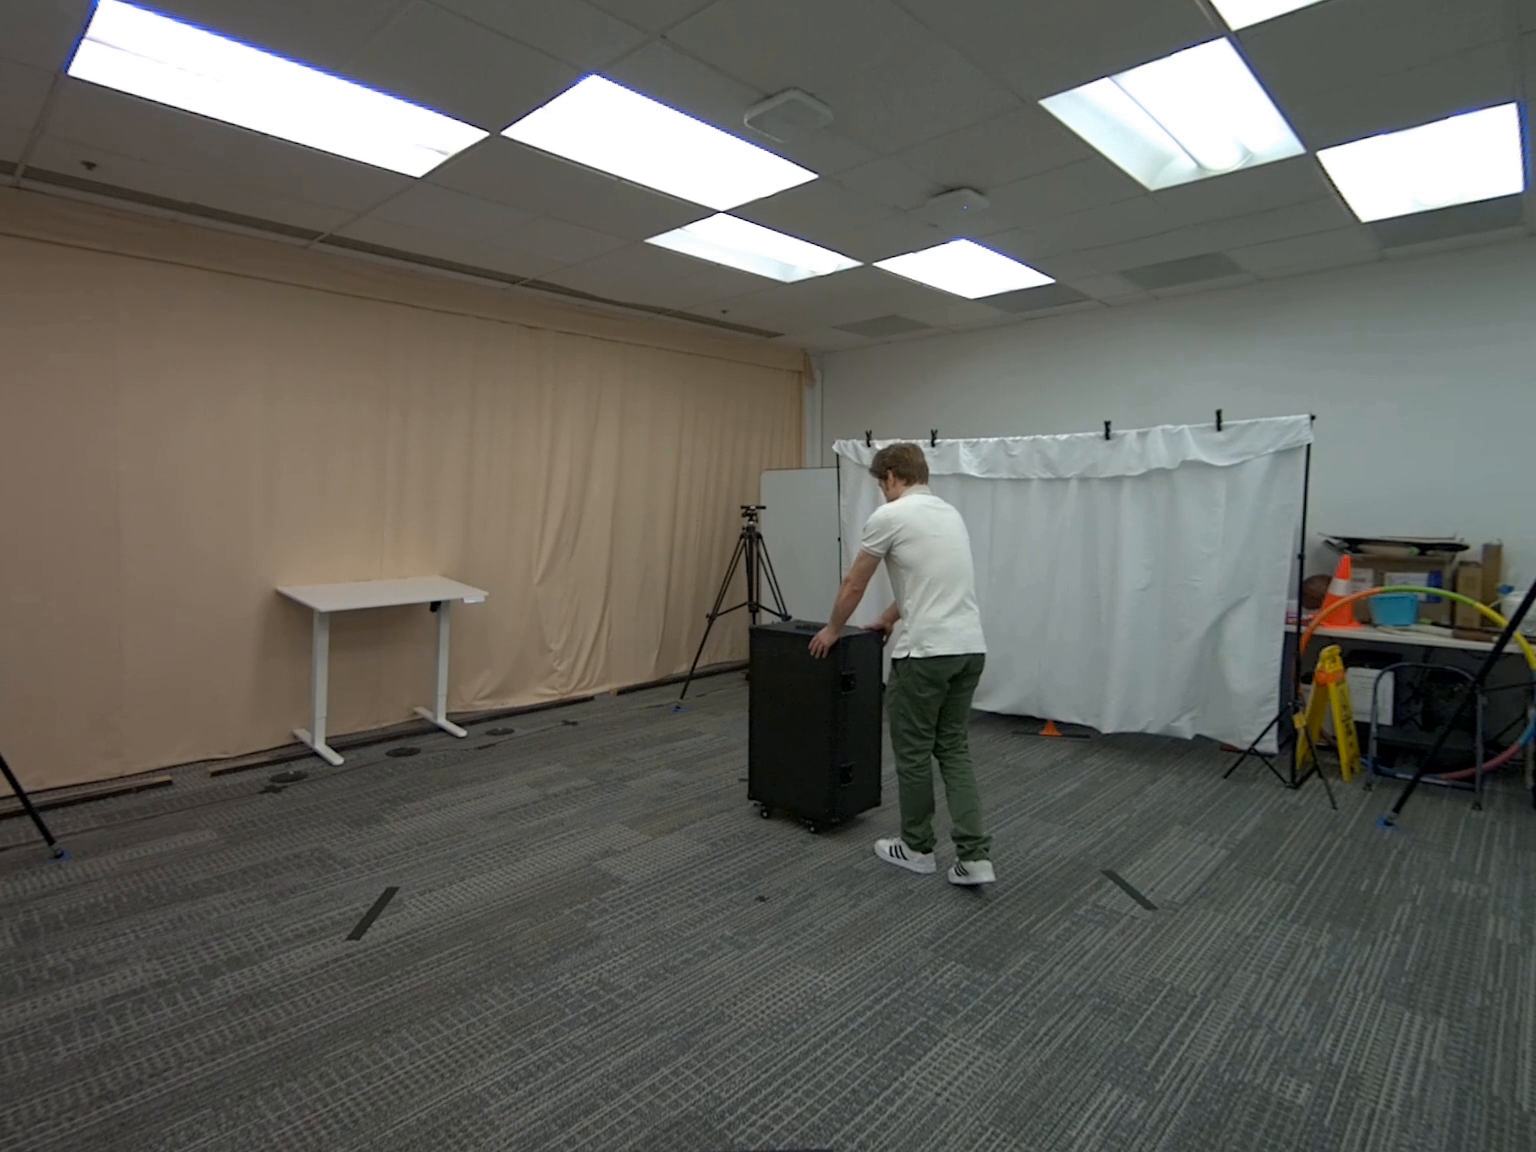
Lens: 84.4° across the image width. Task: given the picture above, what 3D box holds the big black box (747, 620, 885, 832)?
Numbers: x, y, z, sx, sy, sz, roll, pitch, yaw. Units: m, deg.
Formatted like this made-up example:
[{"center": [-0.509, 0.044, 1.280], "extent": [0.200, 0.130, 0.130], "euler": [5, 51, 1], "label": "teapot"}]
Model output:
[{"center": [0.203, 0.656, 3.753], "extent": [0.541, 0.867, 0.373], "euler": [3, 4, 41], "label": "big black box"}]
